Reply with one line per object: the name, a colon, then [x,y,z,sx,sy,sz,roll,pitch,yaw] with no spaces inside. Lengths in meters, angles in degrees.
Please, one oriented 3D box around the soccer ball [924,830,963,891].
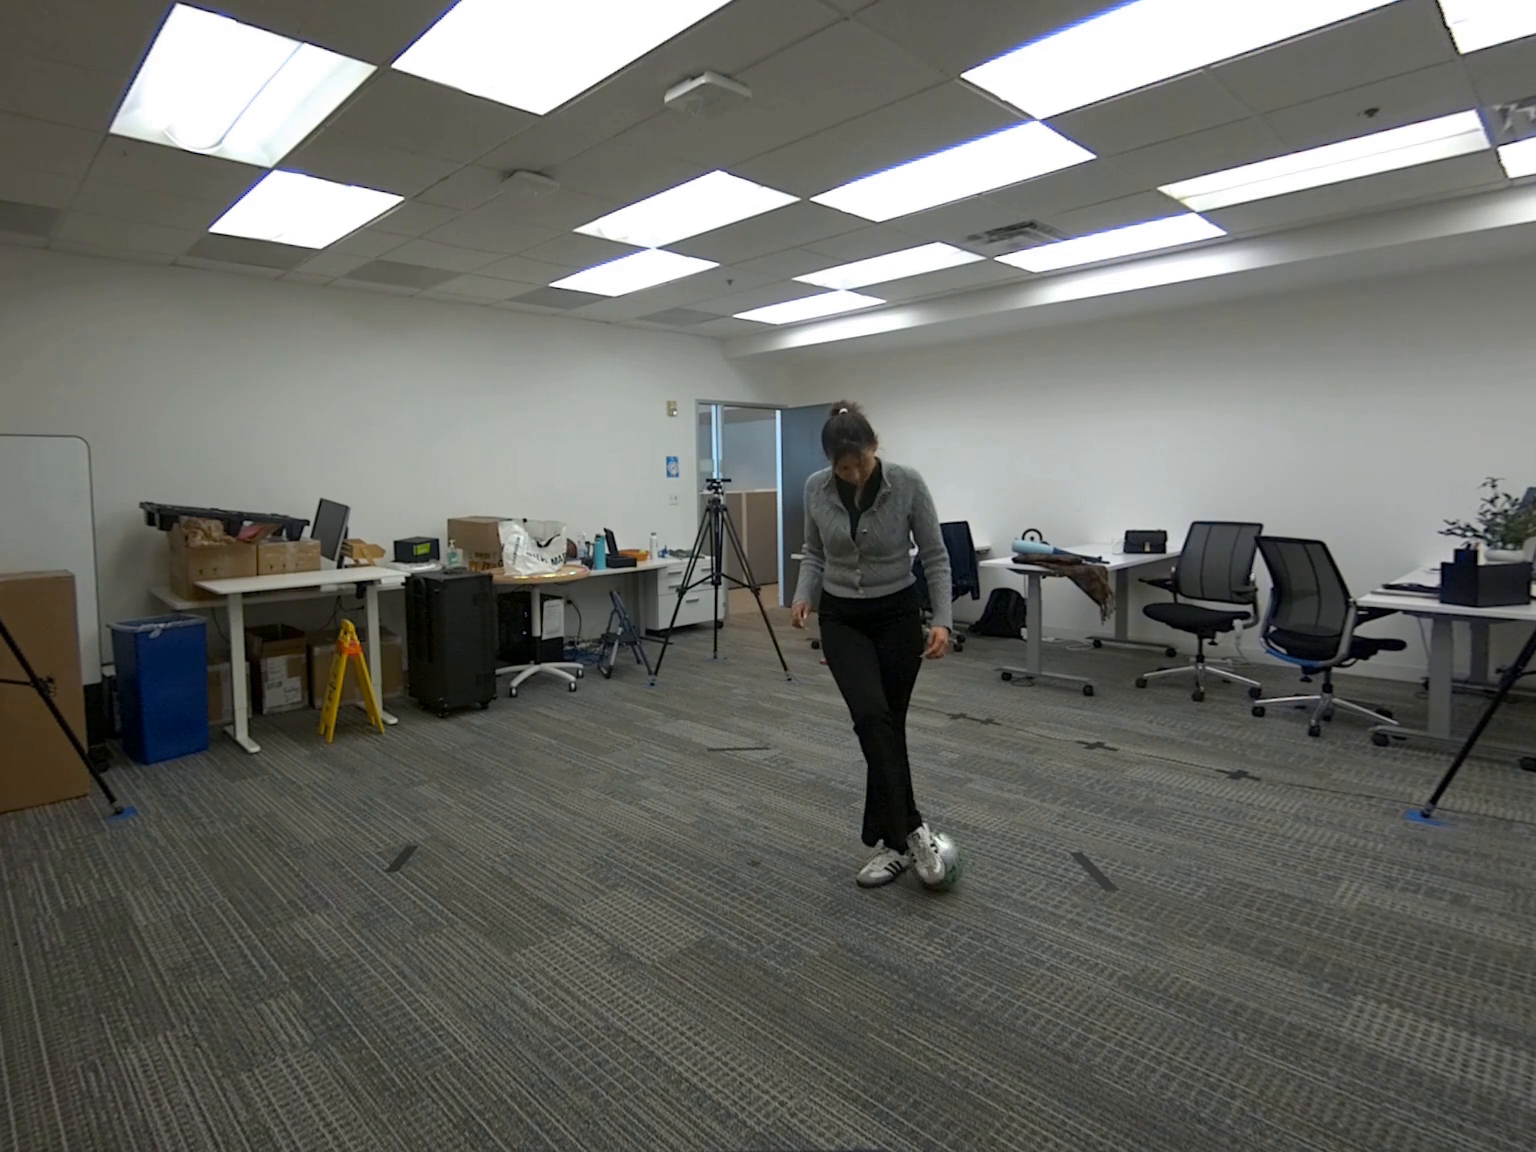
soccer ball: [0.535,0.967,2.881,0.187,0.187,0.188,-1,5,-2]
